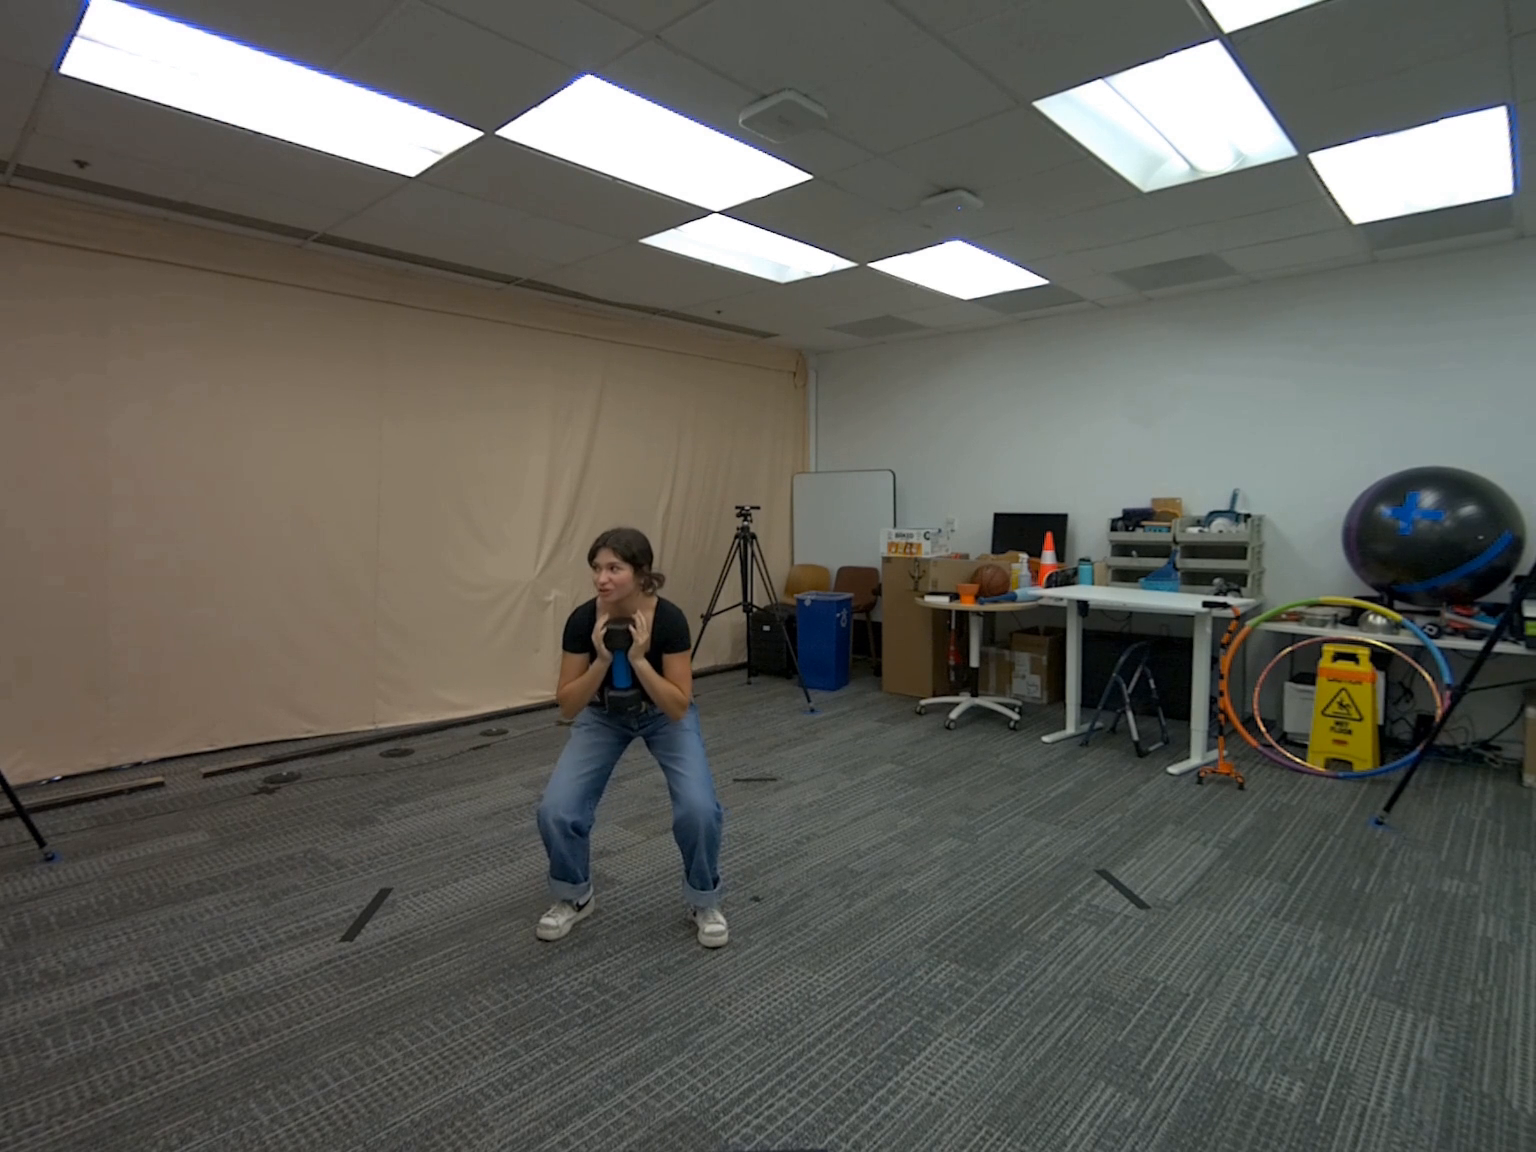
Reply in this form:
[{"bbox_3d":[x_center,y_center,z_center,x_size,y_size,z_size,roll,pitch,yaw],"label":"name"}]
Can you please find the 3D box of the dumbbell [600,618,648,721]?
[{"bbox_3d":[-0.449,0.283,2.618,0.112,0.291,0.120,12,16,35],"label":"dumbbell"}]
